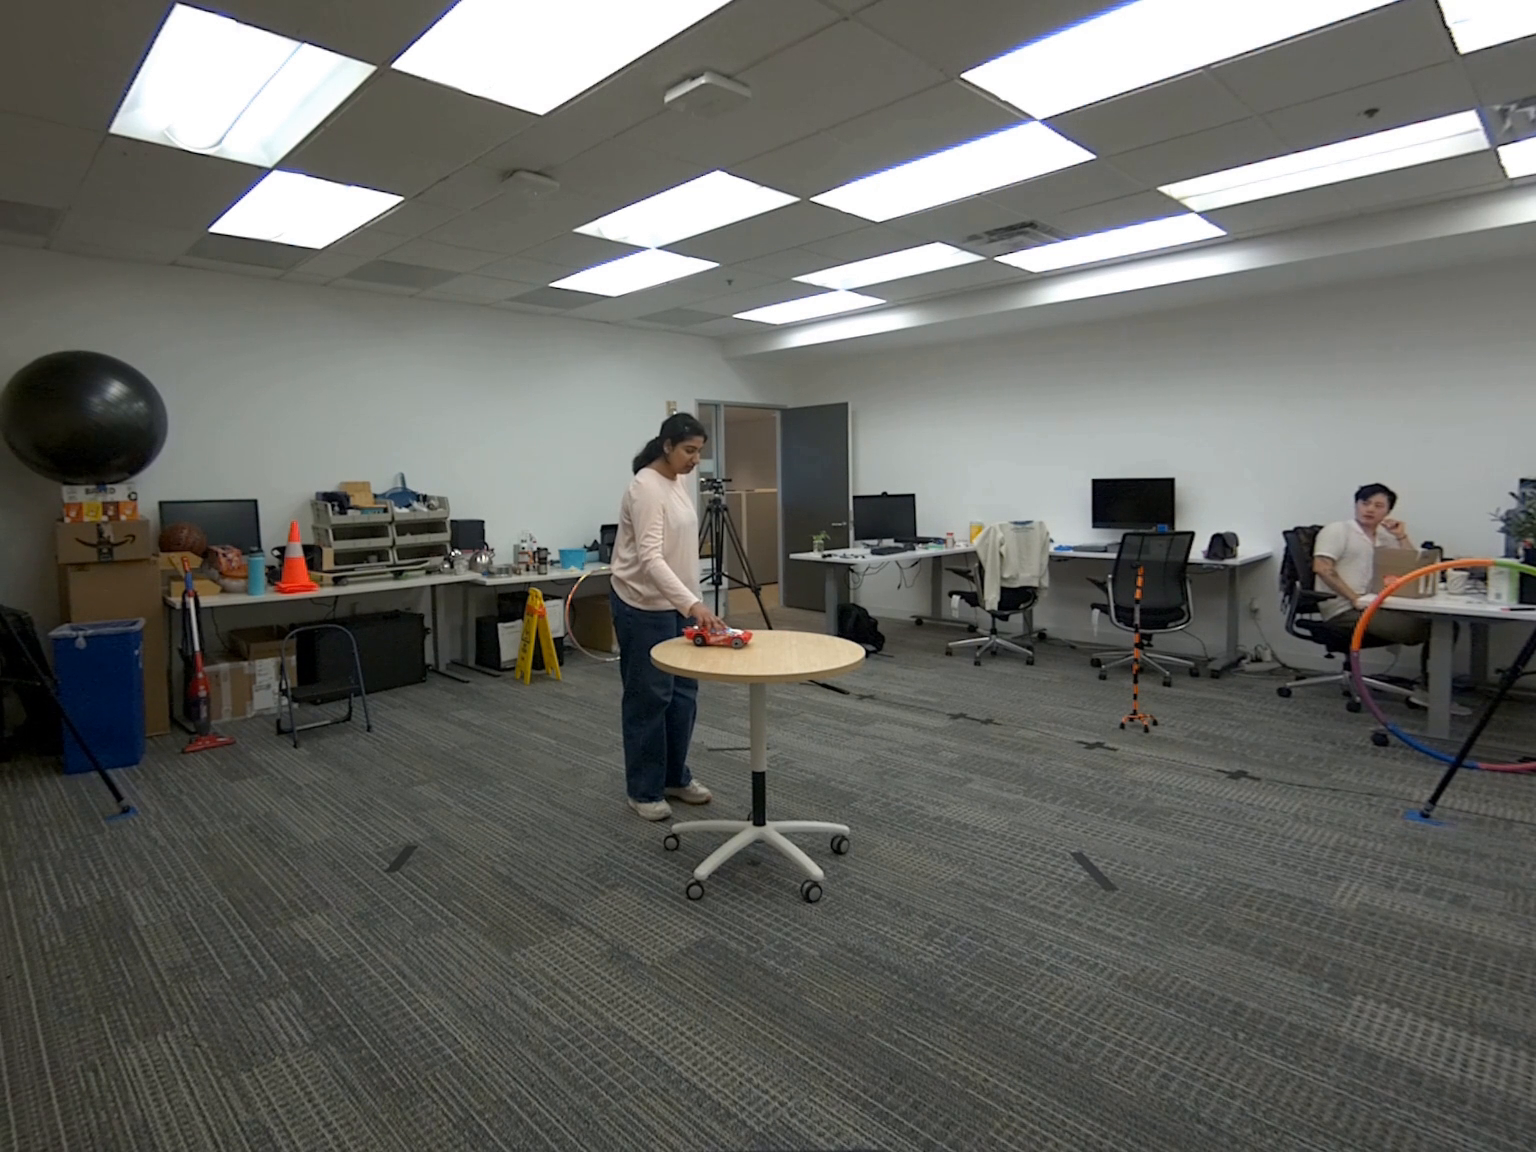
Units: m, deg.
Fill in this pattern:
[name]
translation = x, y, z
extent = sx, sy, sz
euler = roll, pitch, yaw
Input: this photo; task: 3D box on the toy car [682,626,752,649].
[toy car]
translation = -0.183, 0.223, 3.155
extent = 0.258, 0.083, 0.129
euler = 12, 8, 13
